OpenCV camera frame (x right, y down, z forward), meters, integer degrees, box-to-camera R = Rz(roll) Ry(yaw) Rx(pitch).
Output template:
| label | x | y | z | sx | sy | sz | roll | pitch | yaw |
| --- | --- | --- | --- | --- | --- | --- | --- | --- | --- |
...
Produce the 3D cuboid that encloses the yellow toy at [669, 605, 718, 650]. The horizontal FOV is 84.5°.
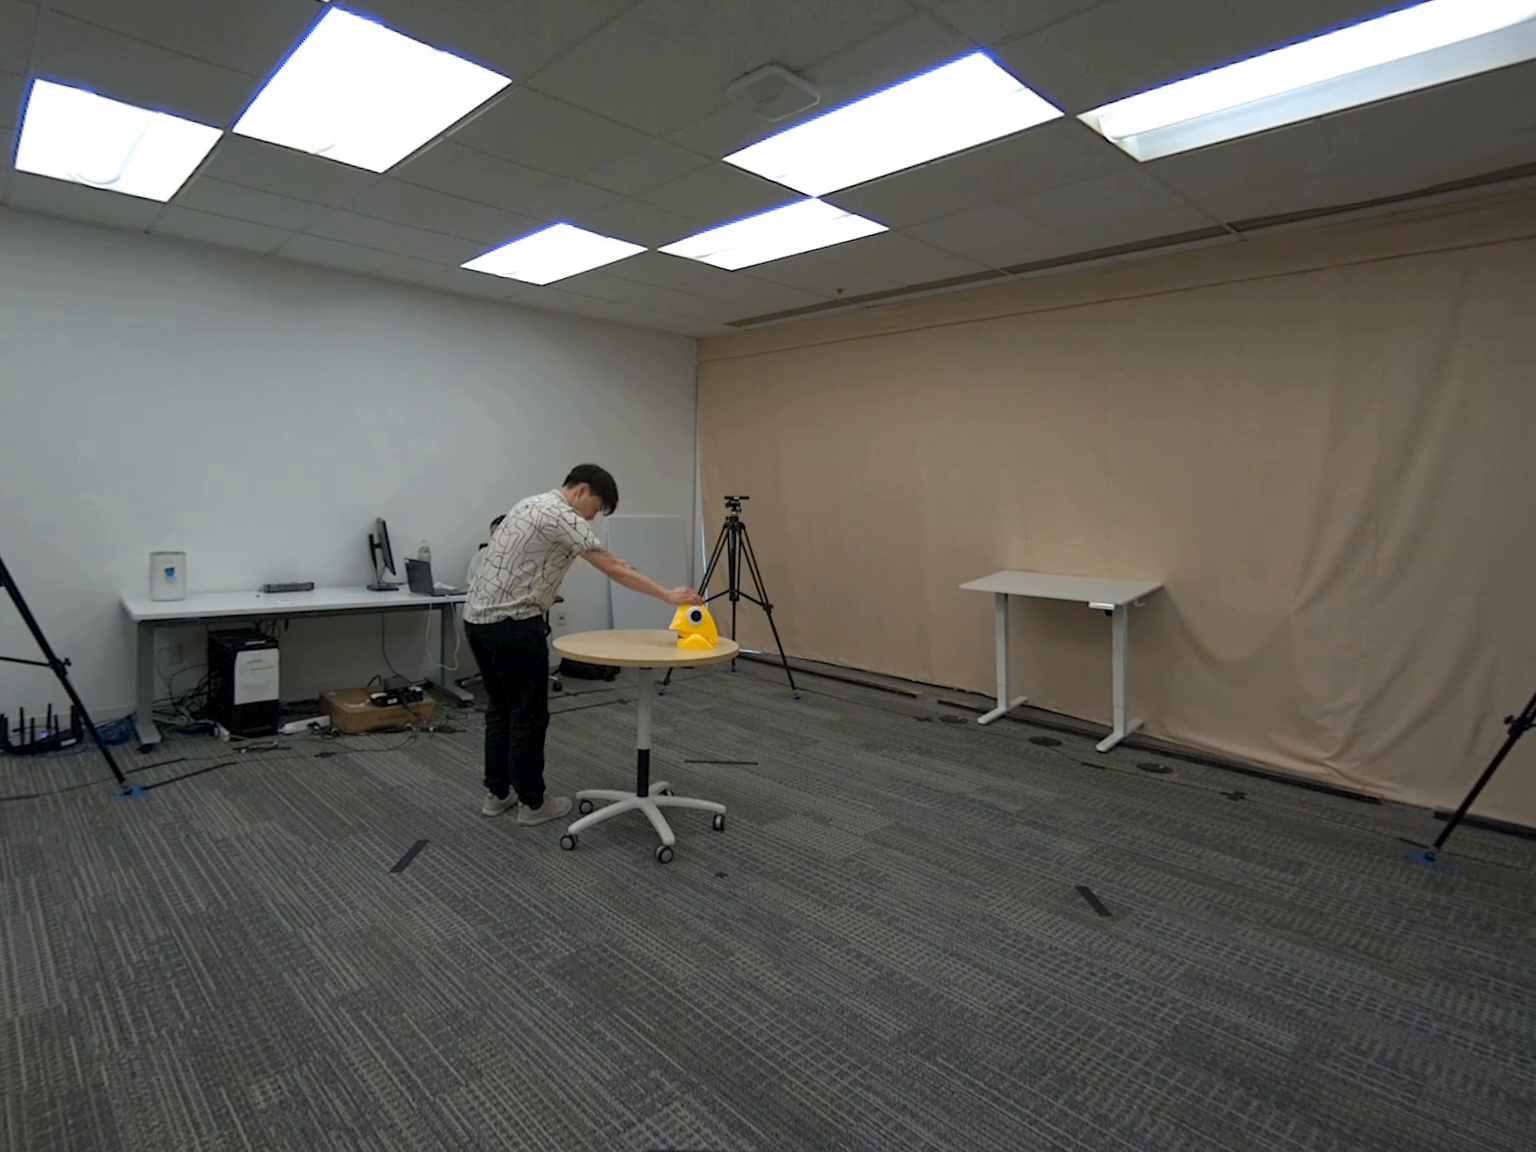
| label | x | y | z | sx | sy | sz | roll | pitch | yaw |
| --- | --- | --- | --- | --- | --- | --- | --- | --- | --- |
| yellow toy | -0.306 | 0.174 | 3.477 | 0.194 | 0.230 | 0.204 | 2 | 3 | 5 |
